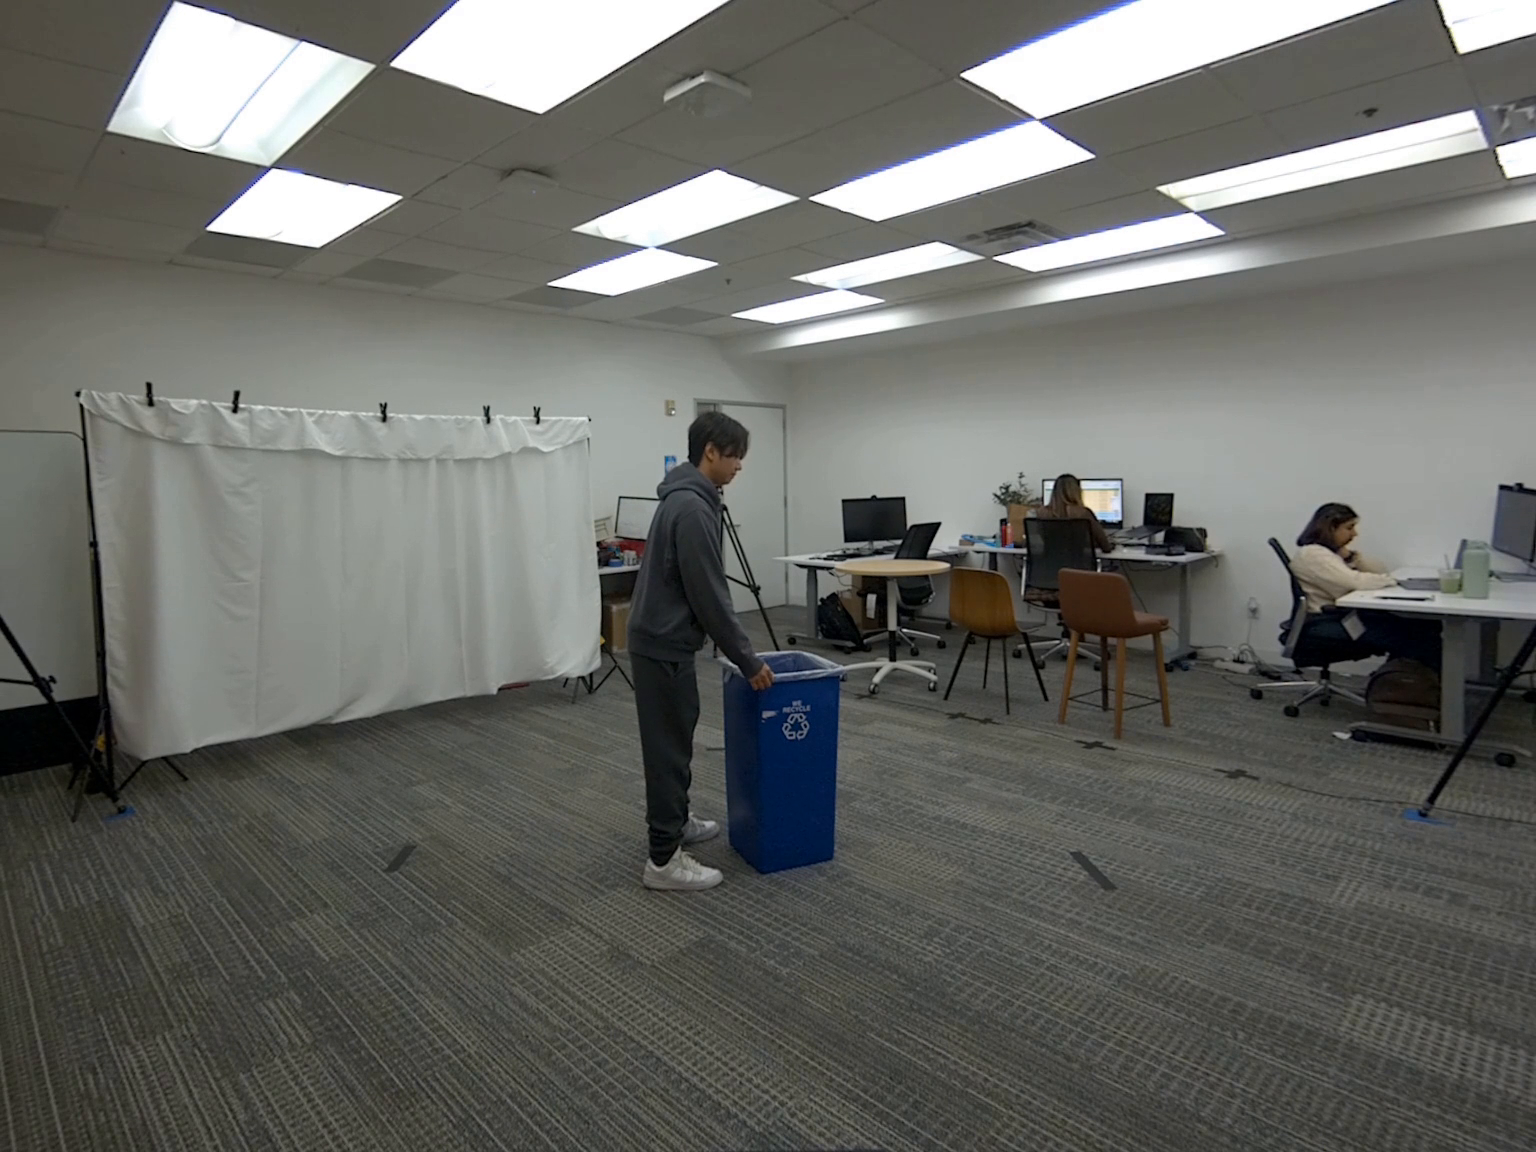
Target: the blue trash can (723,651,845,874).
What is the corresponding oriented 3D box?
[{"bbox_3d":[0.051,0.676,3.183,0.366,0.710,0.388,-2,5,-25],"label":"blue trash can"}]
